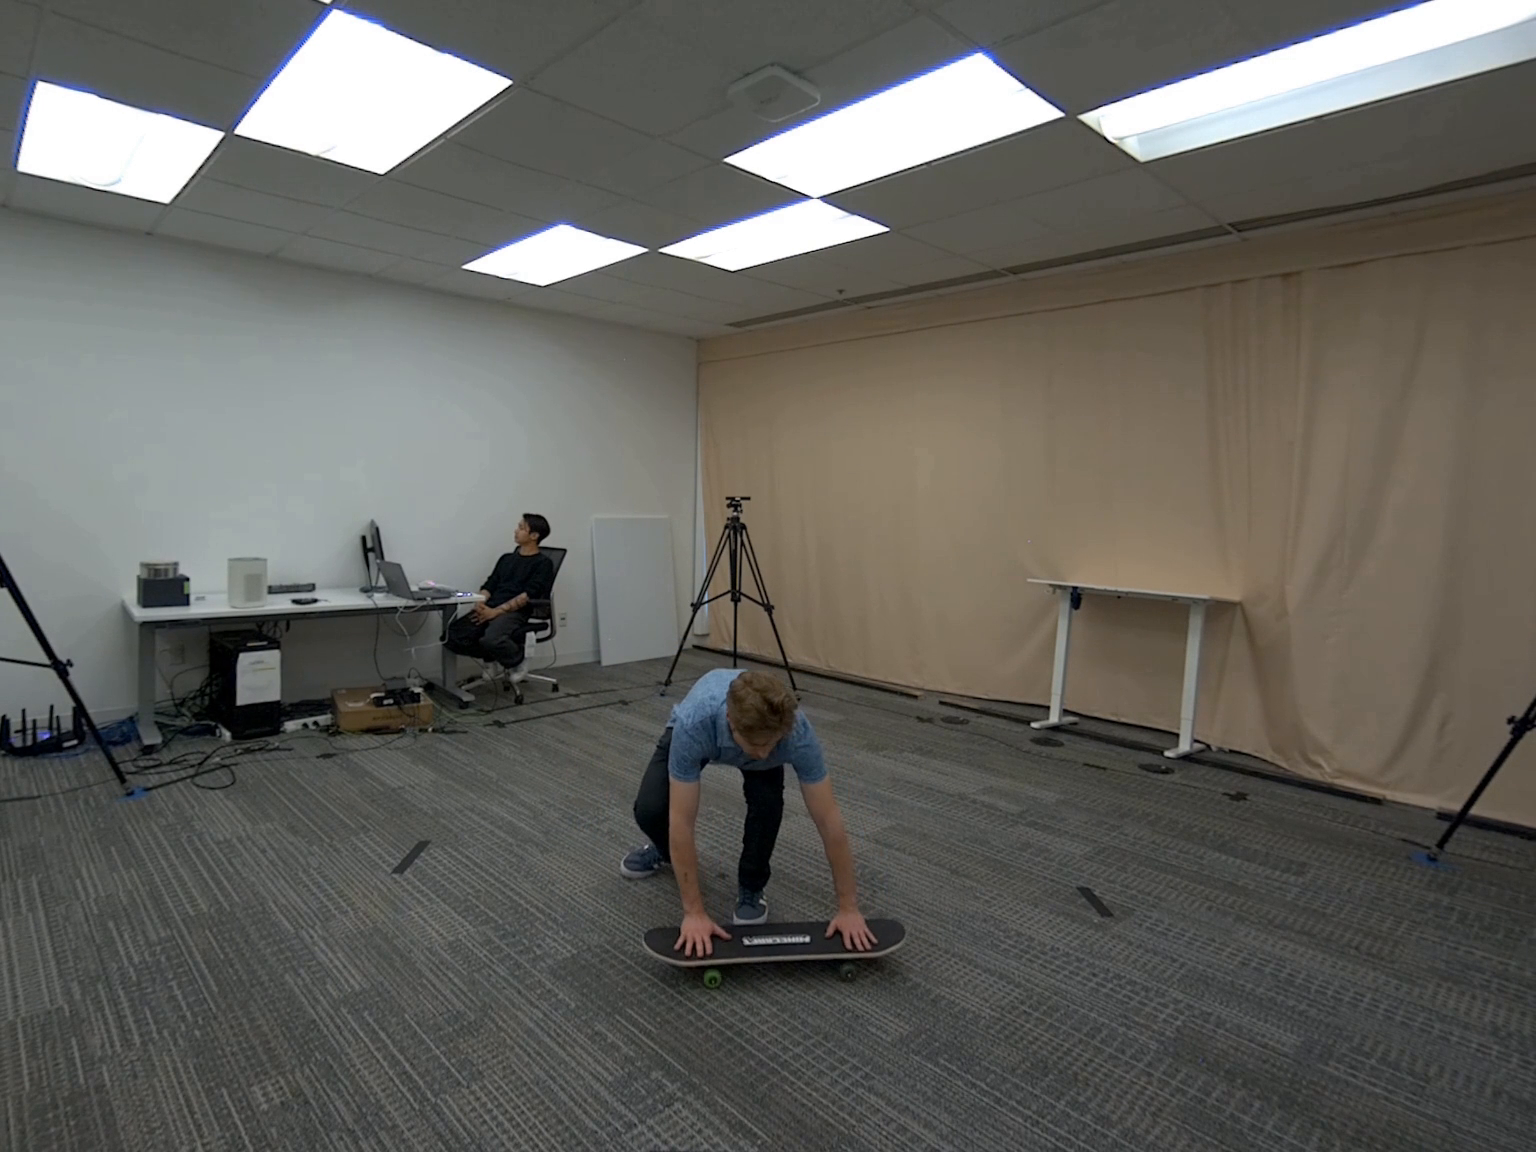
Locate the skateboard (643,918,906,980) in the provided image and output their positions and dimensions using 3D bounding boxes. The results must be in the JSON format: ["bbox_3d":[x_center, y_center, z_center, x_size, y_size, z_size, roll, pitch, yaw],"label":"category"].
[{"bbox_3d":[0.015,1.110,2.496,0.781,0.110,0.195,1,7,-6],"label":"skateboard"}]
